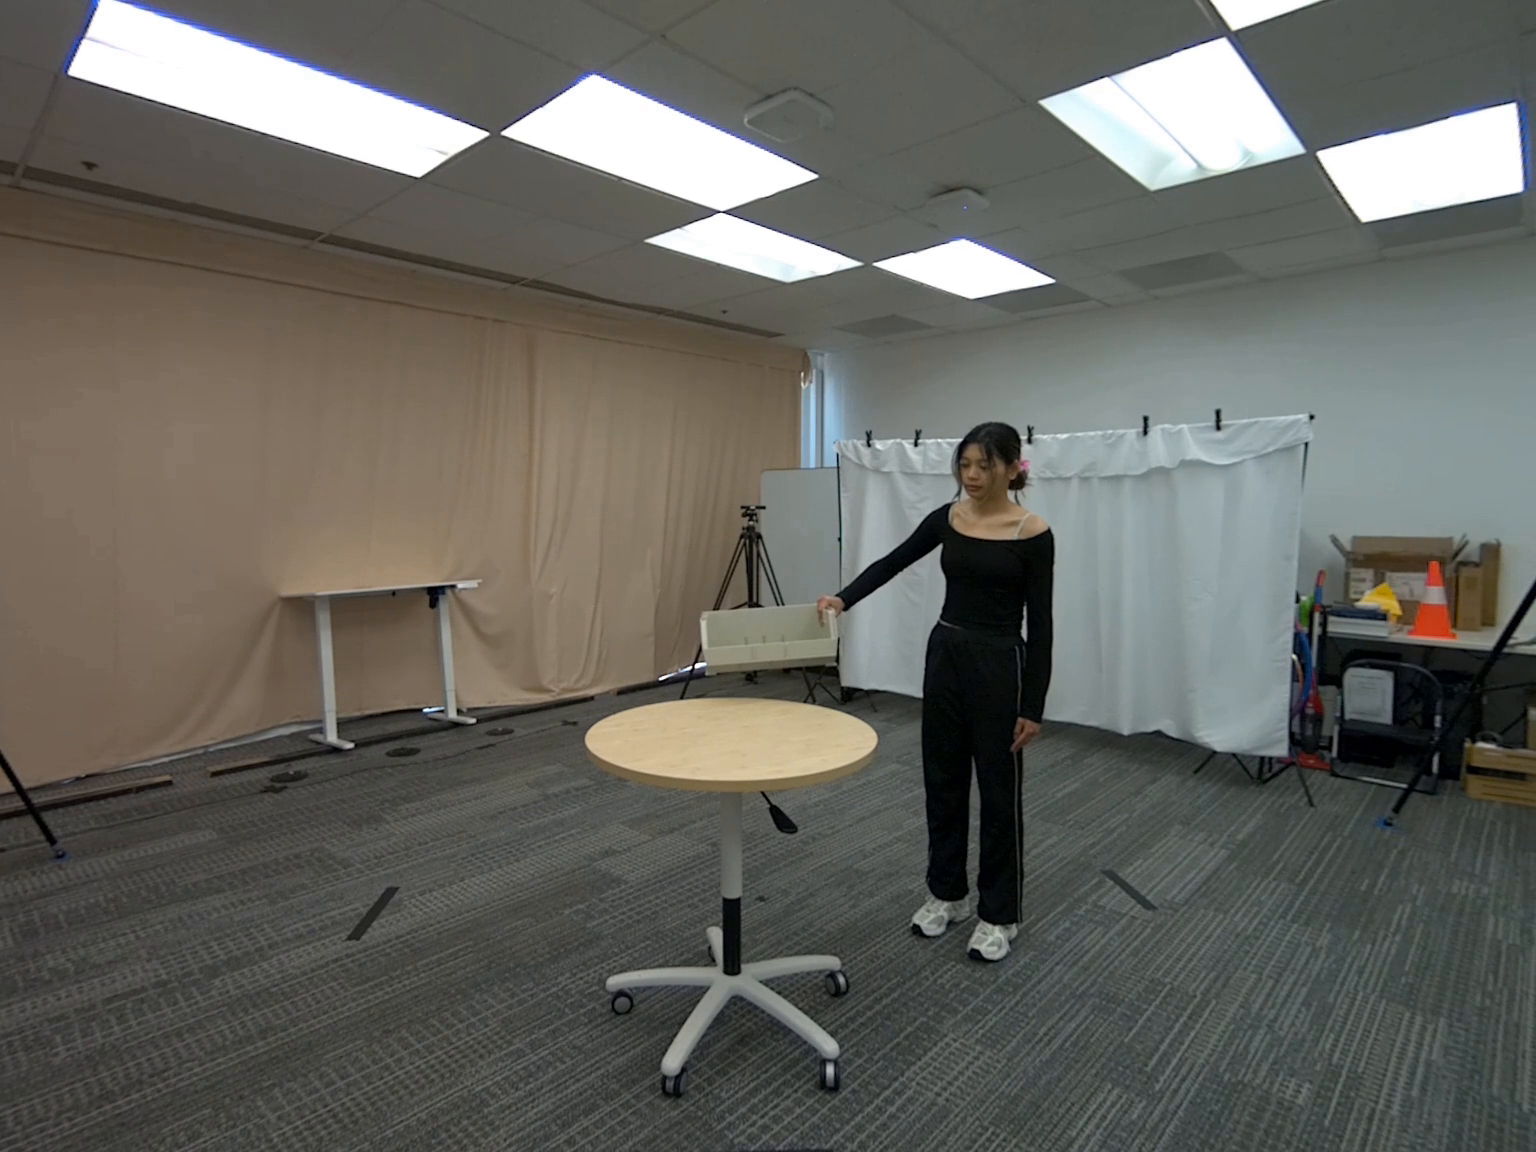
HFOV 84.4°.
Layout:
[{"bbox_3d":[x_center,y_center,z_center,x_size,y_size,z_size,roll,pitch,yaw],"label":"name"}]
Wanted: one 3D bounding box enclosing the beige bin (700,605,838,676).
[{"bbox_3d":[0.003,0.211,2.769,0.421,0.189,0.378,-4,2,-3],"label":"beige bin"}]
